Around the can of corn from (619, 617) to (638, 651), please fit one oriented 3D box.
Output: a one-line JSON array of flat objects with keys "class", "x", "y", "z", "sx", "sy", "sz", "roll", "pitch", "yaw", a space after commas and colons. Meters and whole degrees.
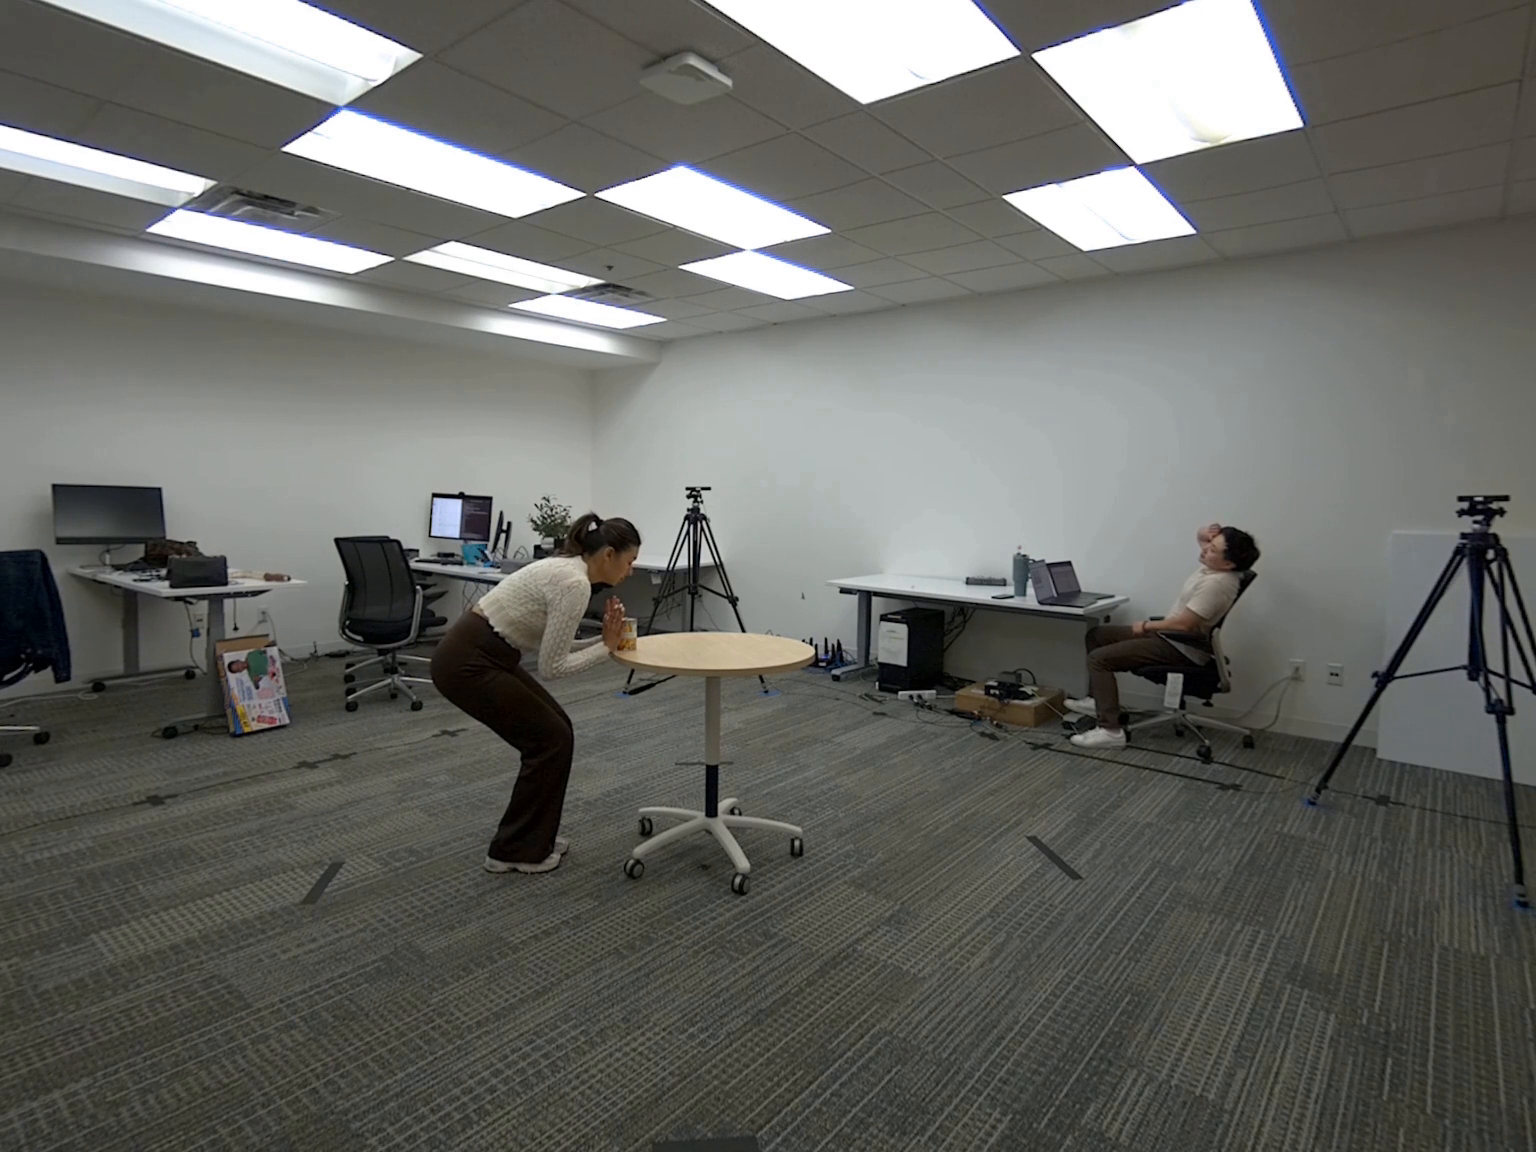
[{"class": "can of corn", "x": -0.545, "y": 0.217, "z": 3.189, "sx": 0.074, "sy": 0.111, "sz": 0.074, "roll": 2, "pitch": 2, "yaw": -2}]
